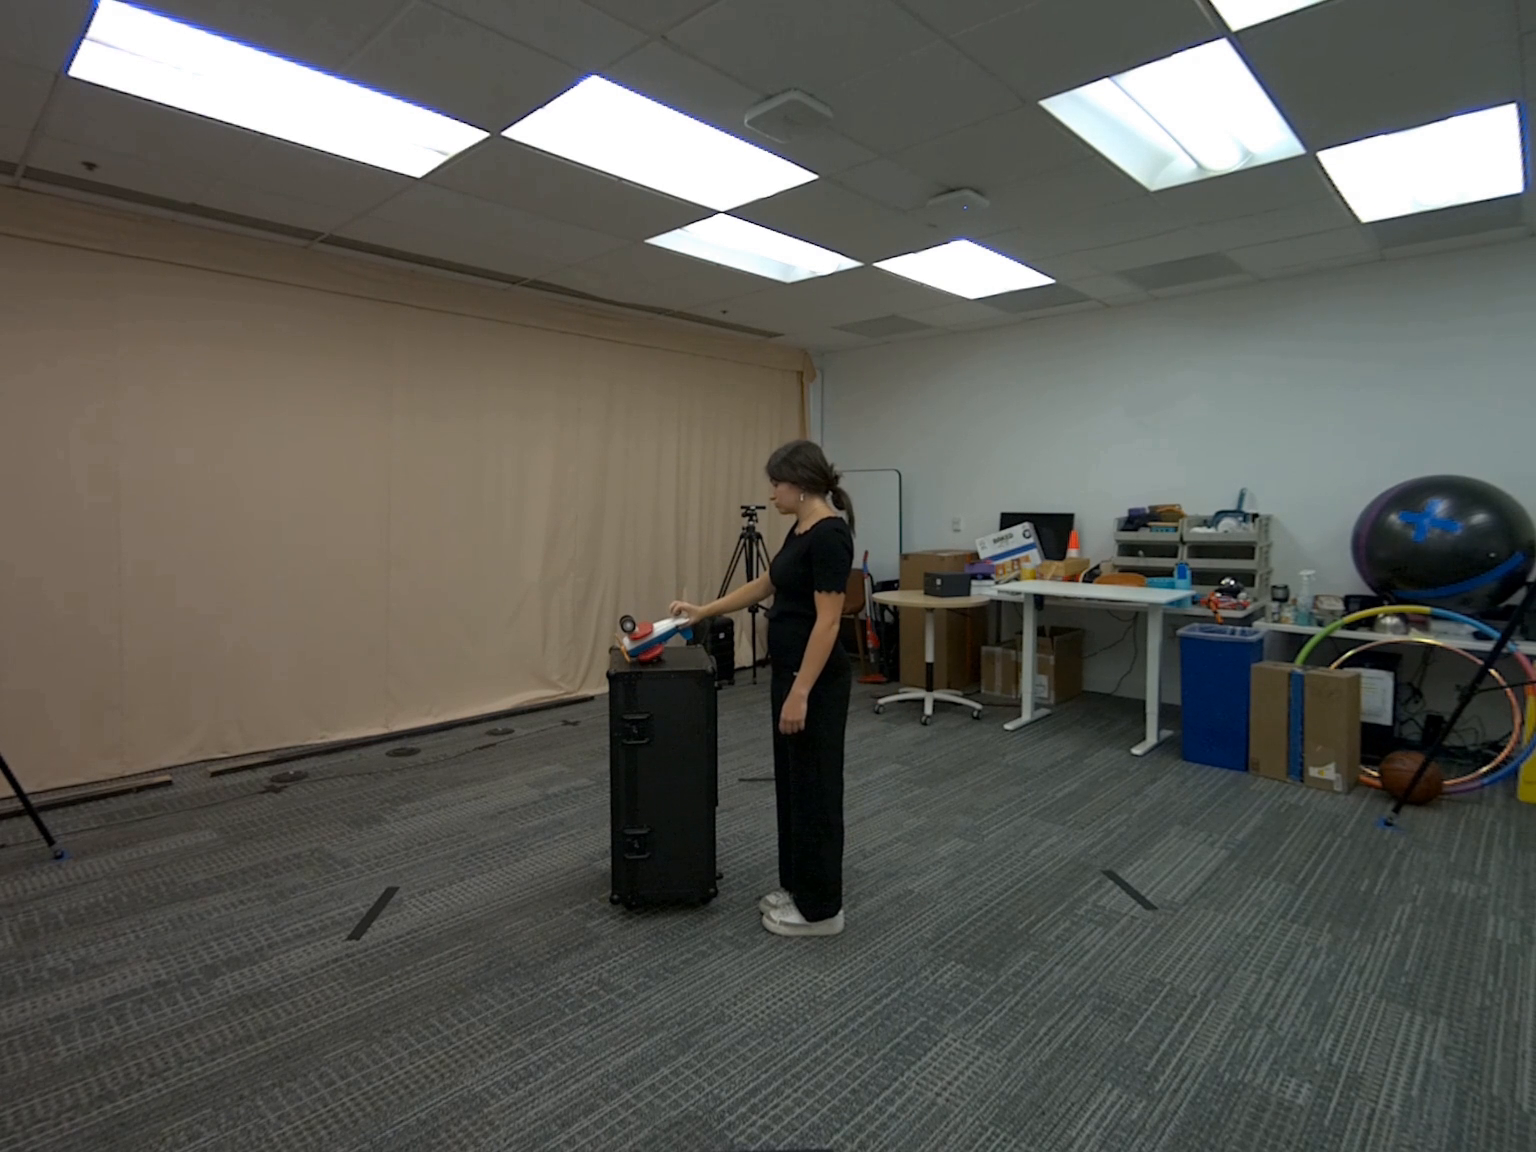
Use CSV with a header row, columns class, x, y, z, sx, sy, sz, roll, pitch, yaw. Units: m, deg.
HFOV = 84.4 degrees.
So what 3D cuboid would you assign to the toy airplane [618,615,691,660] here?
class,x,y,z,sx,sy,sz,roll,pitch,yaw
toy airplane,-0.410,0.204,2.963,0.263,0.155,0.248,-9,7,17
